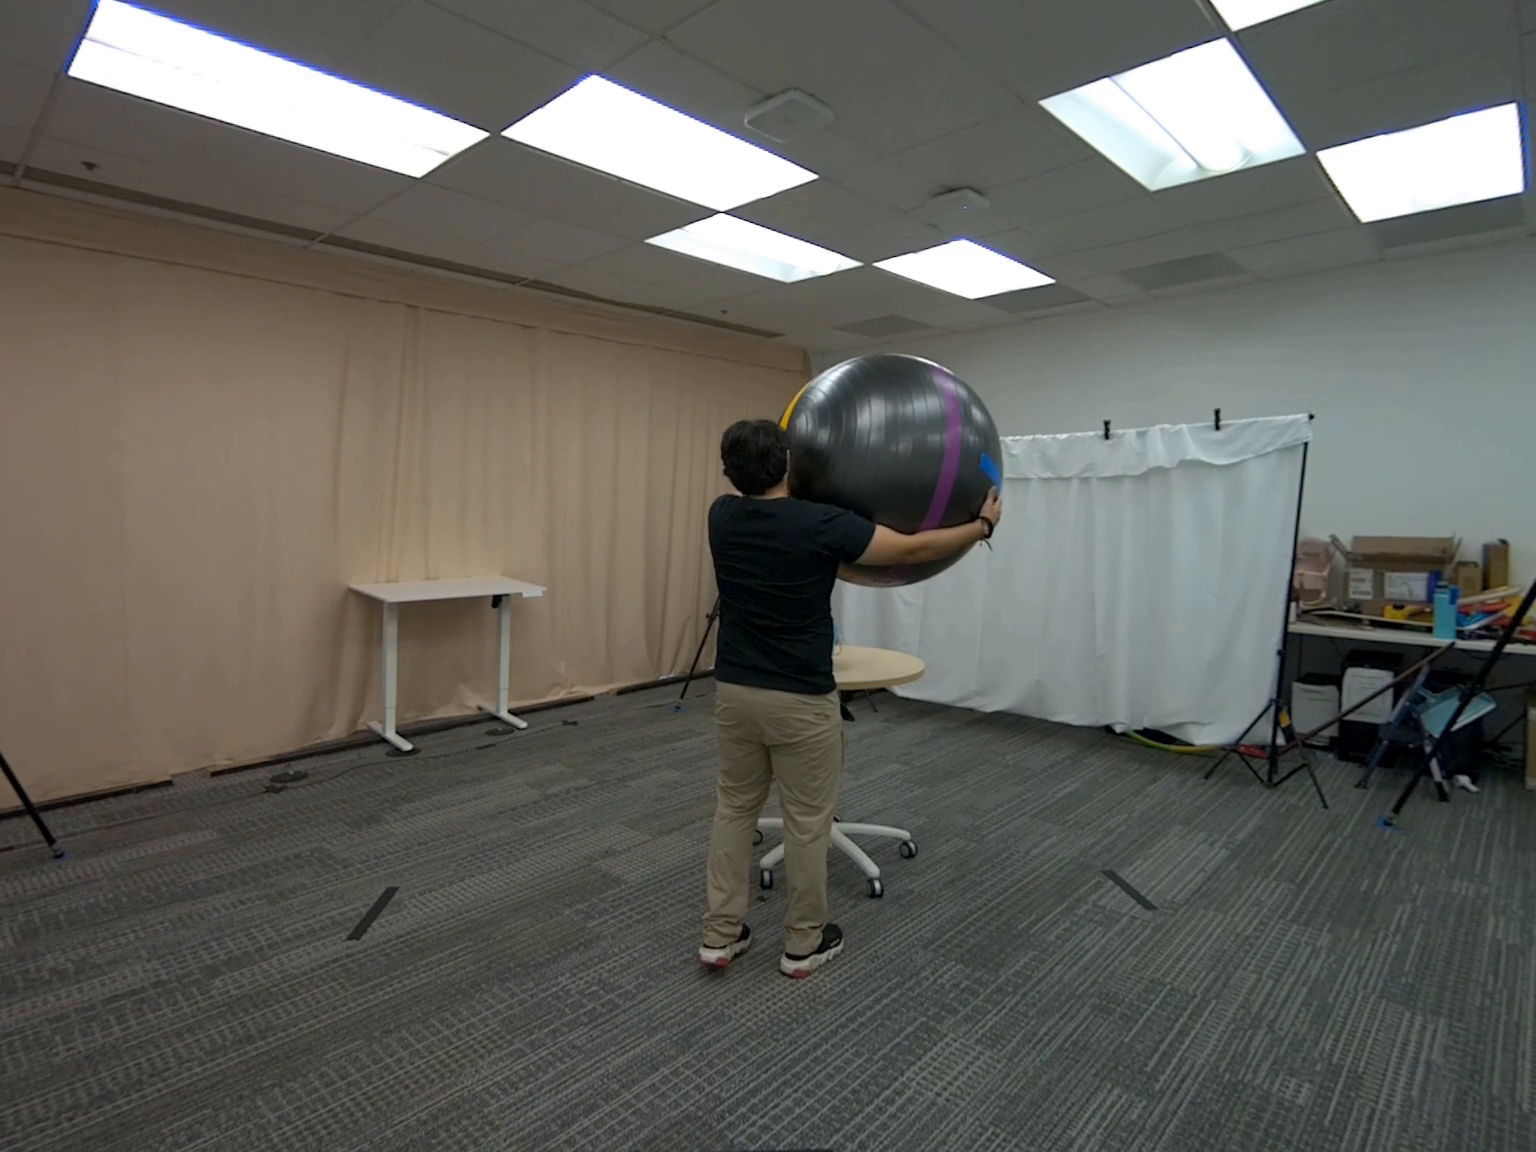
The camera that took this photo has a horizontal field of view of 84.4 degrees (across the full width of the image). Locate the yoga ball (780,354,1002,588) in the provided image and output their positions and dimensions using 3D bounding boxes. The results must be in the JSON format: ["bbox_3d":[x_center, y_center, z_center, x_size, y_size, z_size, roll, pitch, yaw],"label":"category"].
[{"bbox_3d":[0.377,-0.331,2.773,0.757,0.756,0.760,0,4,-2],"label":"yoga ball"}]
